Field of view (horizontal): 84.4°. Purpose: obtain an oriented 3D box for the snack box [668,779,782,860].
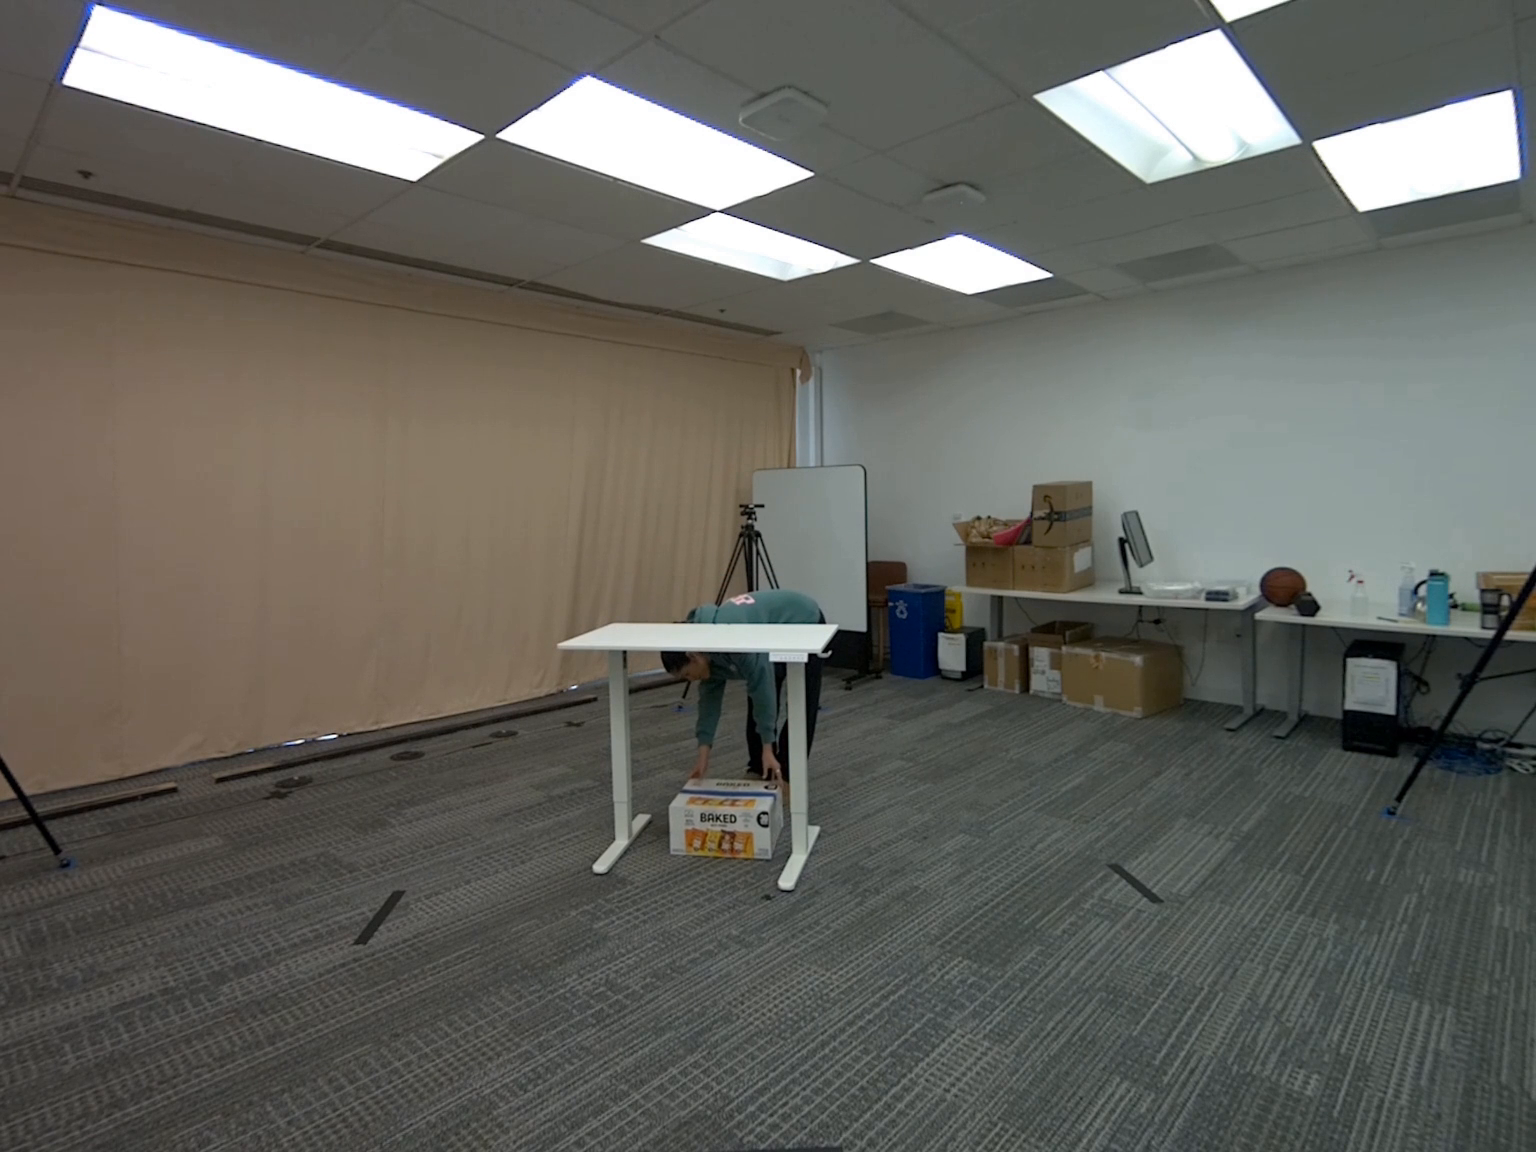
[{"bbox_3d":[-0.166,0.995,3.480,0.410,0.205,0.337,-1,4,10],"label":"snack box"}]
